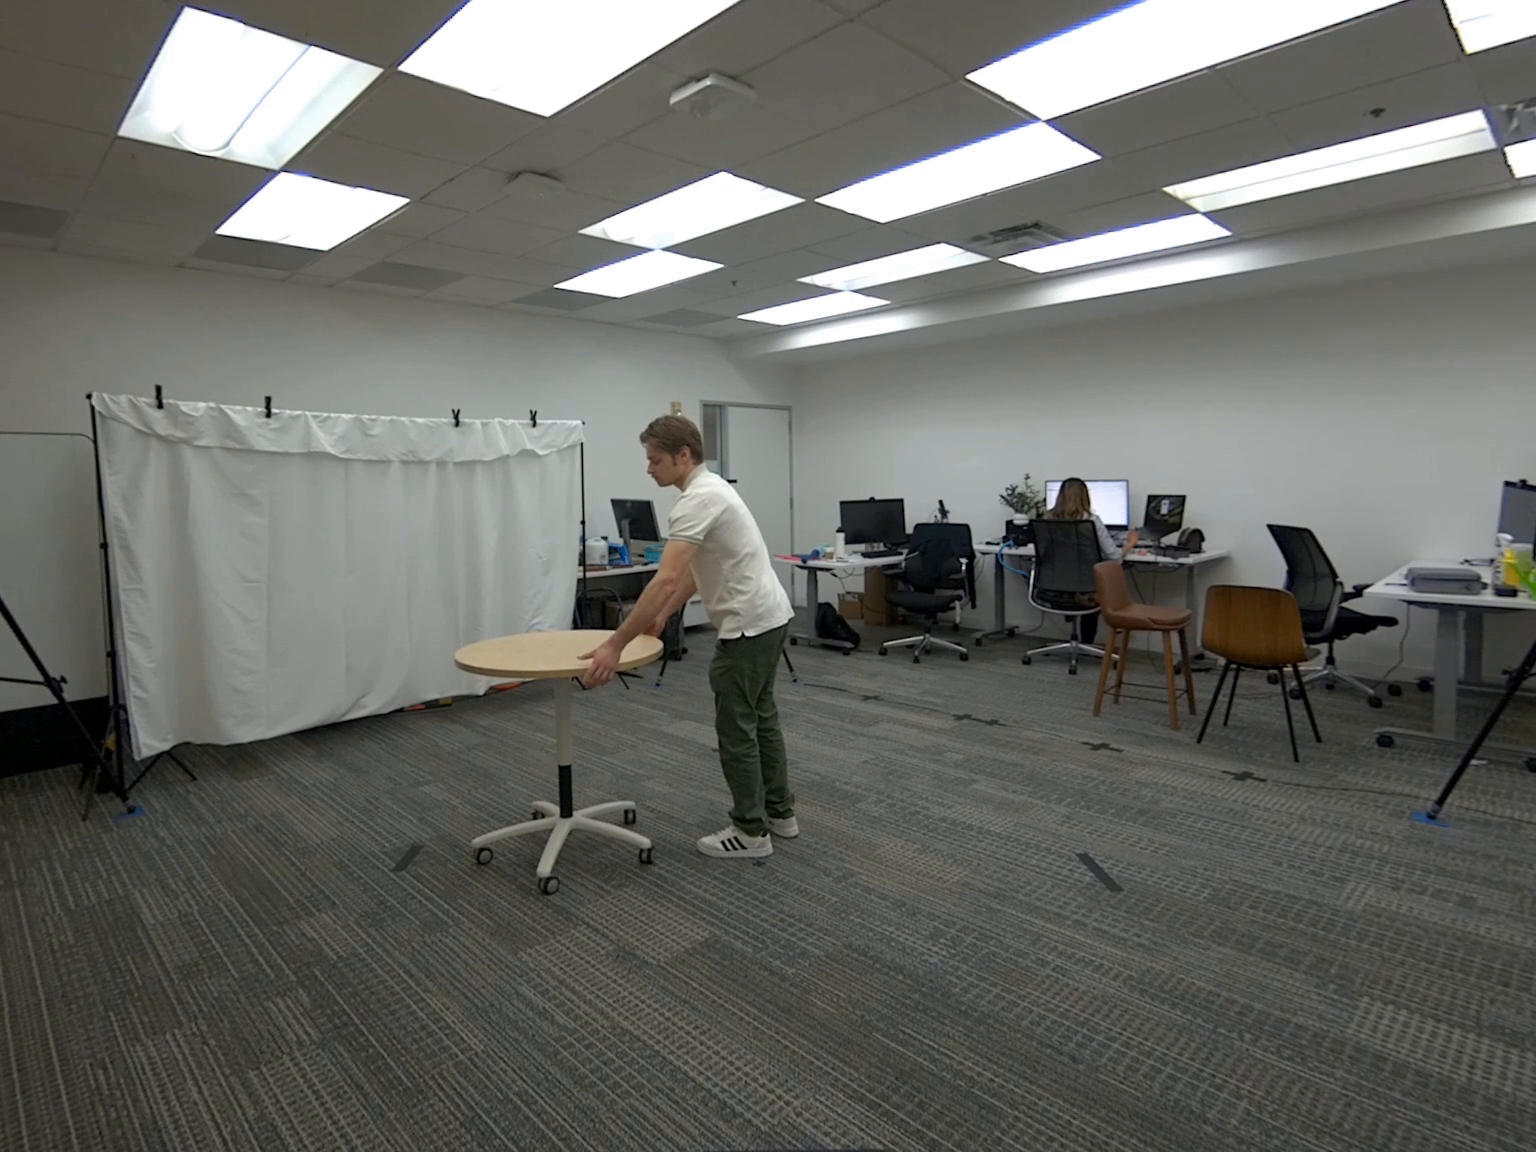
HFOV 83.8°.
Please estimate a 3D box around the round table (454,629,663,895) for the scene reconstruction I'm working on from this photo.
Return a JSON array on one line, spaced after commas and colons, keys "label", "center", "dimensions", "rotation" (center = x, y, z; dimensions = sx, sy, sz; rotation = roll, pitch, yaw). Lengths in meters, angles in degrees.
[{"label": "round table", "center": [-0.758, 0.657, 3.218], "dimensions": [0.763, 0.791, 0.768], "rotation": [-1, 5, -2]}]
